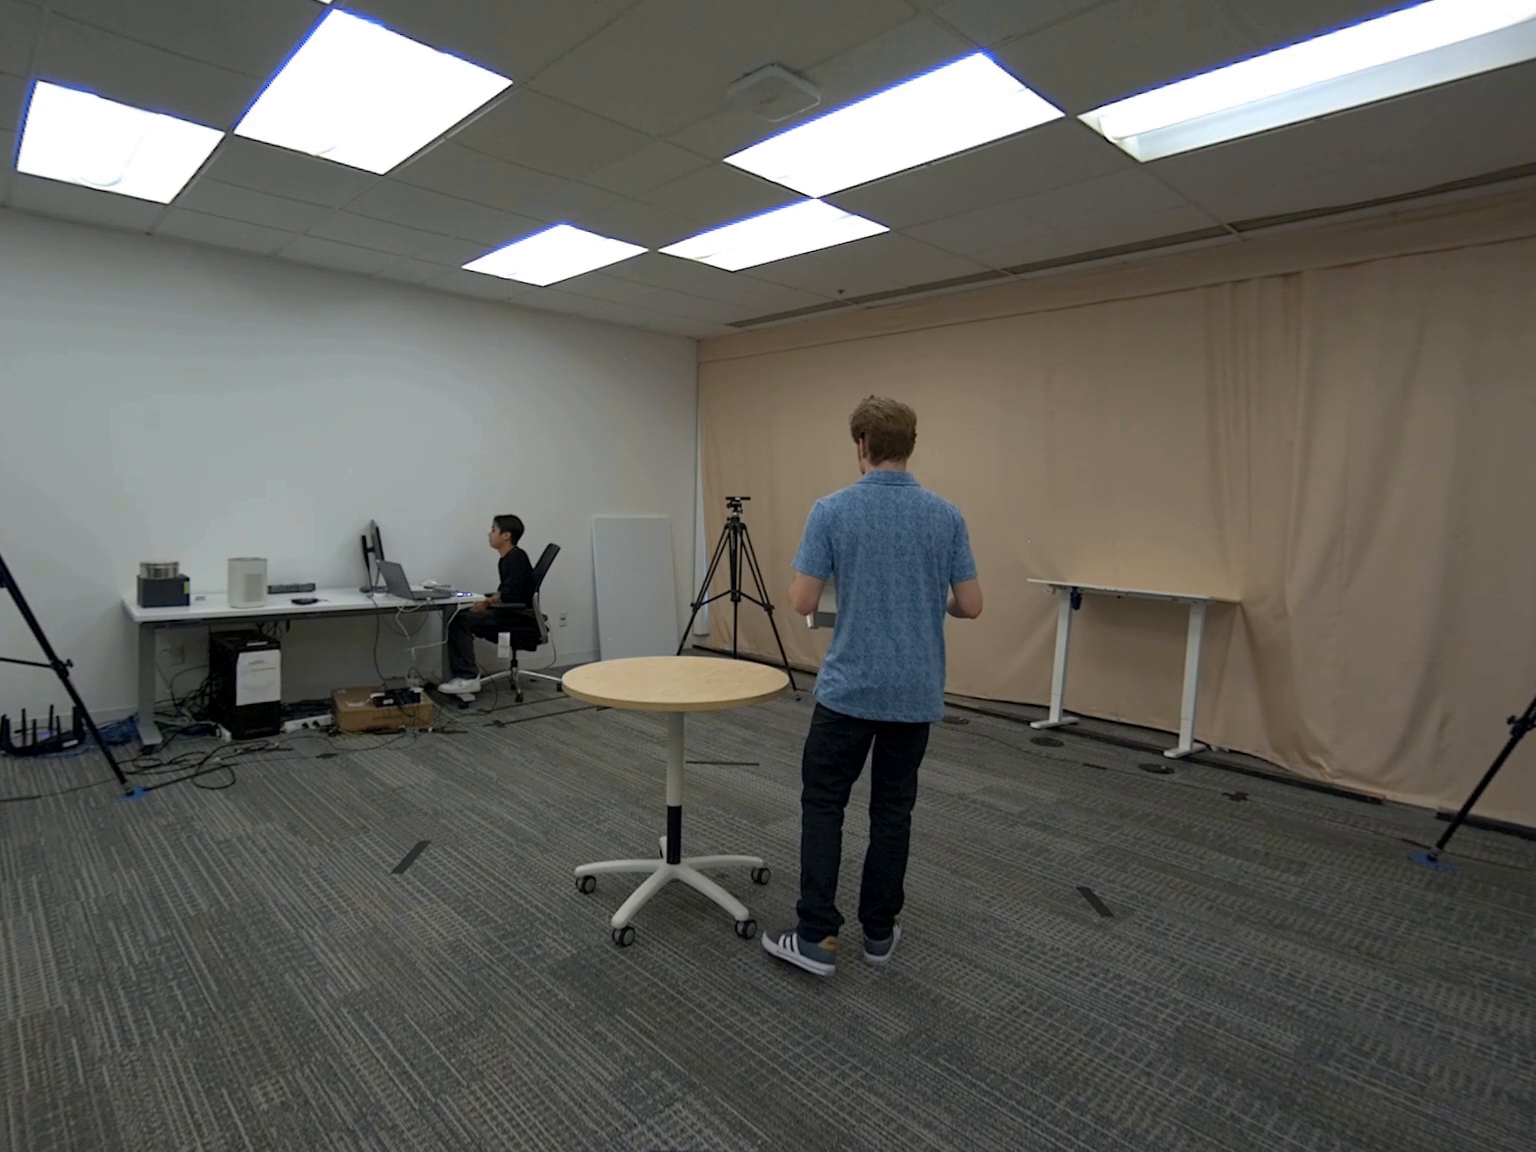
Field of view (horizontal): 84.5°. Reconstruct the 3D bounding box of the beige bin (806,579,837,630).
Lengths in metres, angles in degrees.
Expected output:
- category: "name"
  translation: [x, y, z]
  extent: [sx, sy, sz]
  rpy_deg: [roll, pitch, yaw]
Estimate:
- category: "beige bin"
  translation: [0.334, 0.058, 2.845]
  extent: [0.422, 0.186, 0.383]
  rpy_deg: [5, 24, -1]
